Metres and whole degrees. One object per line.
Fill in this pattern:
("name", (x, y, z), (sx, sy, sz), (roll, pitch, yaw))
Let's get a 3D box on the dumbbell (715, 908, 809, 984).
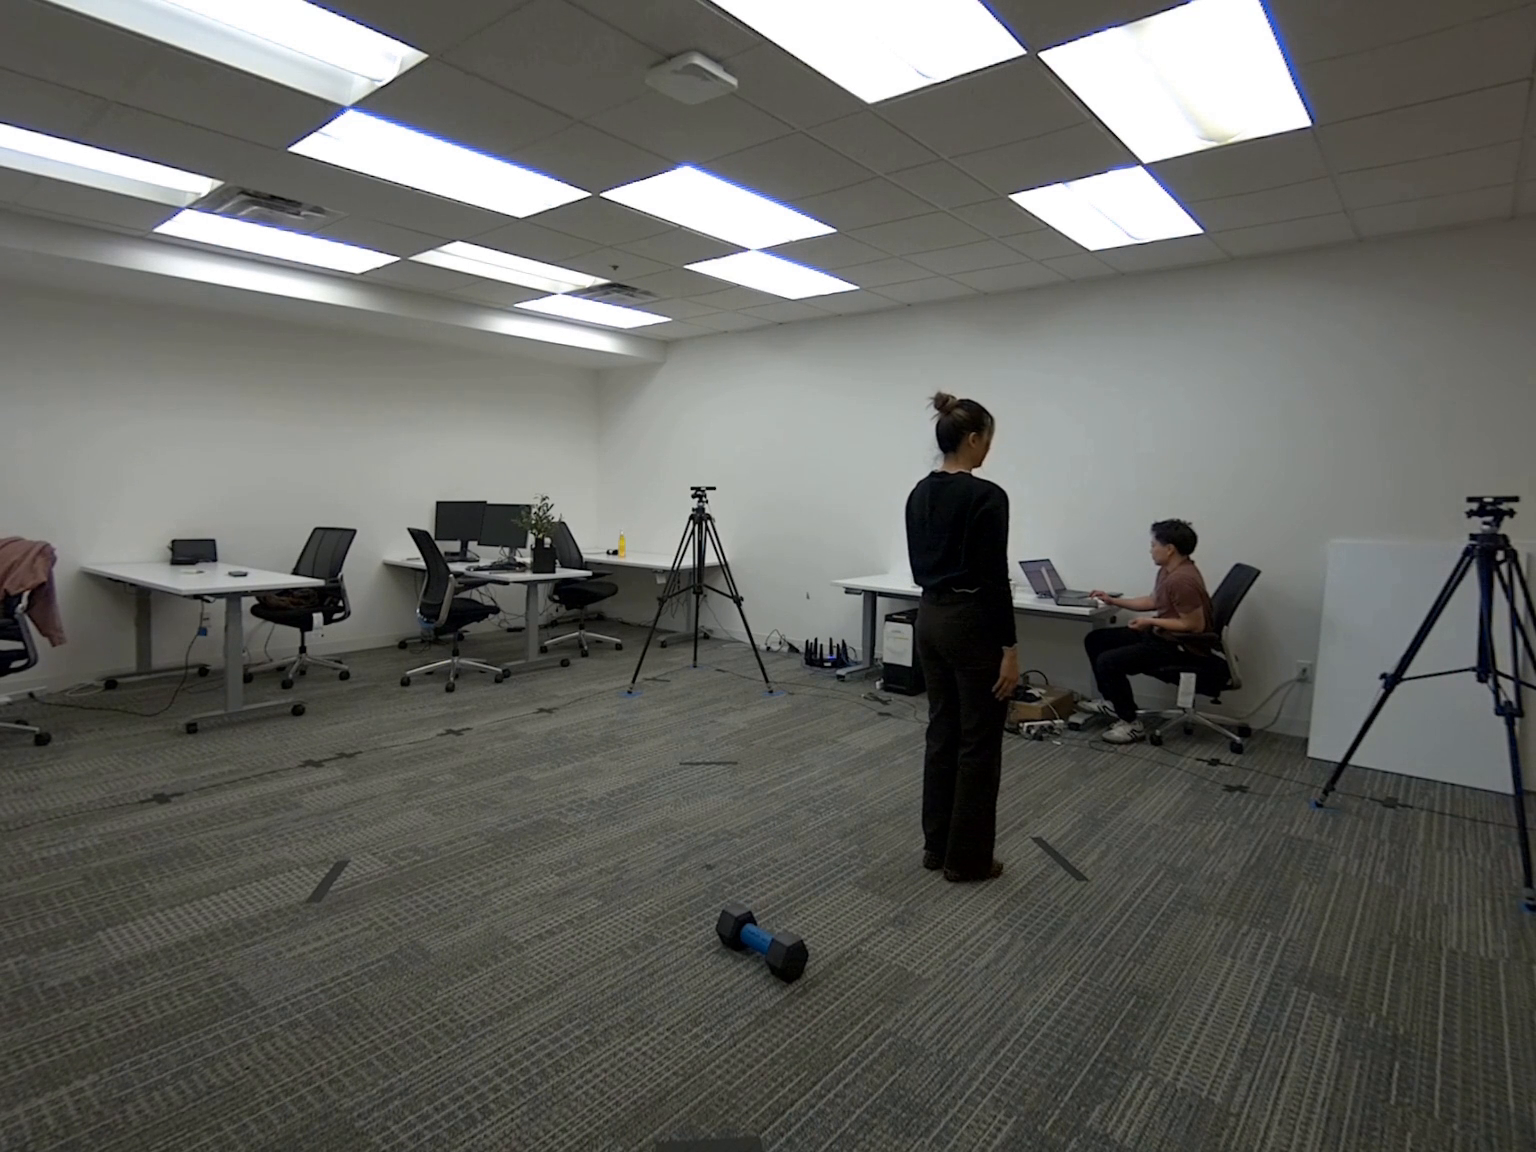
("dumbbell", (-0.027, 1.075, 2.507), (0.304, 0.119, 0.108), (7, 38, 46))
